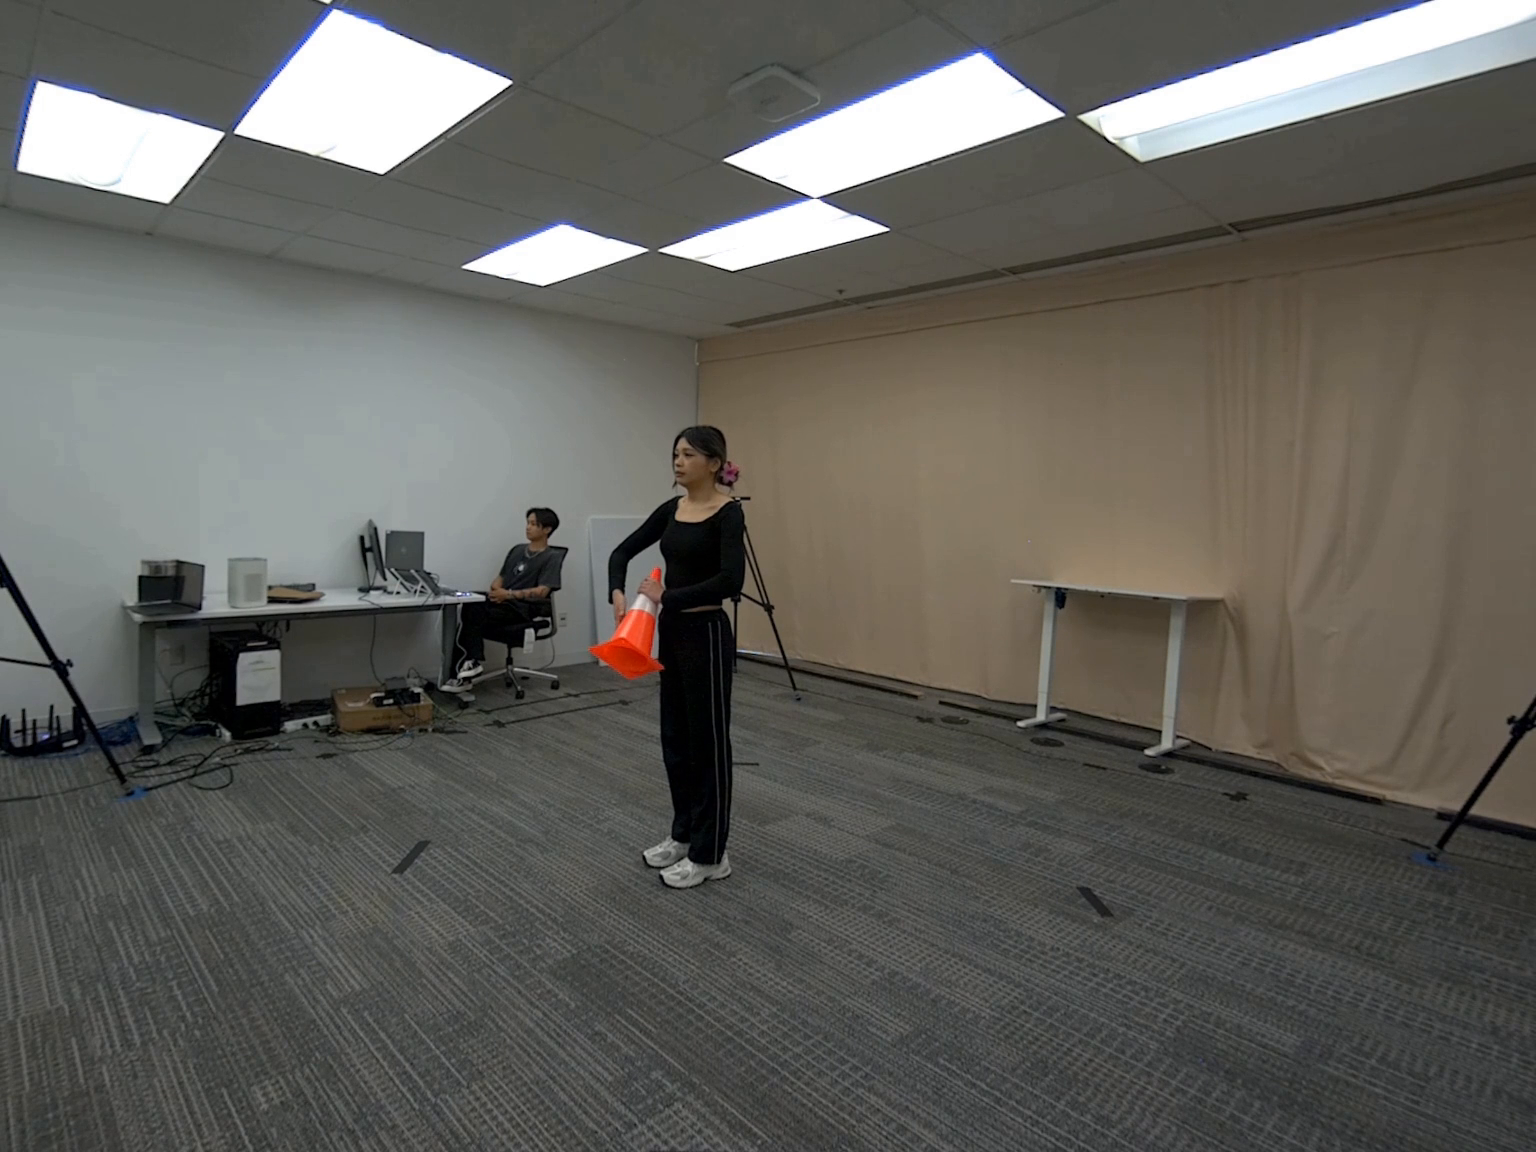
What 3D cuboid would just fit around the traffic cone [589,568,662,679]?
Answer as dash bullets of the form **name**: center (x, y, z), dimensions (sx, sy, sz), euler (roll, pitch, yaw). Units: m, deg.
- **traffic cone**: center (-0.445, 0.133, 2.927), dimensions (0.198, 0.389, 0.207), euler (37, -43, -26)
